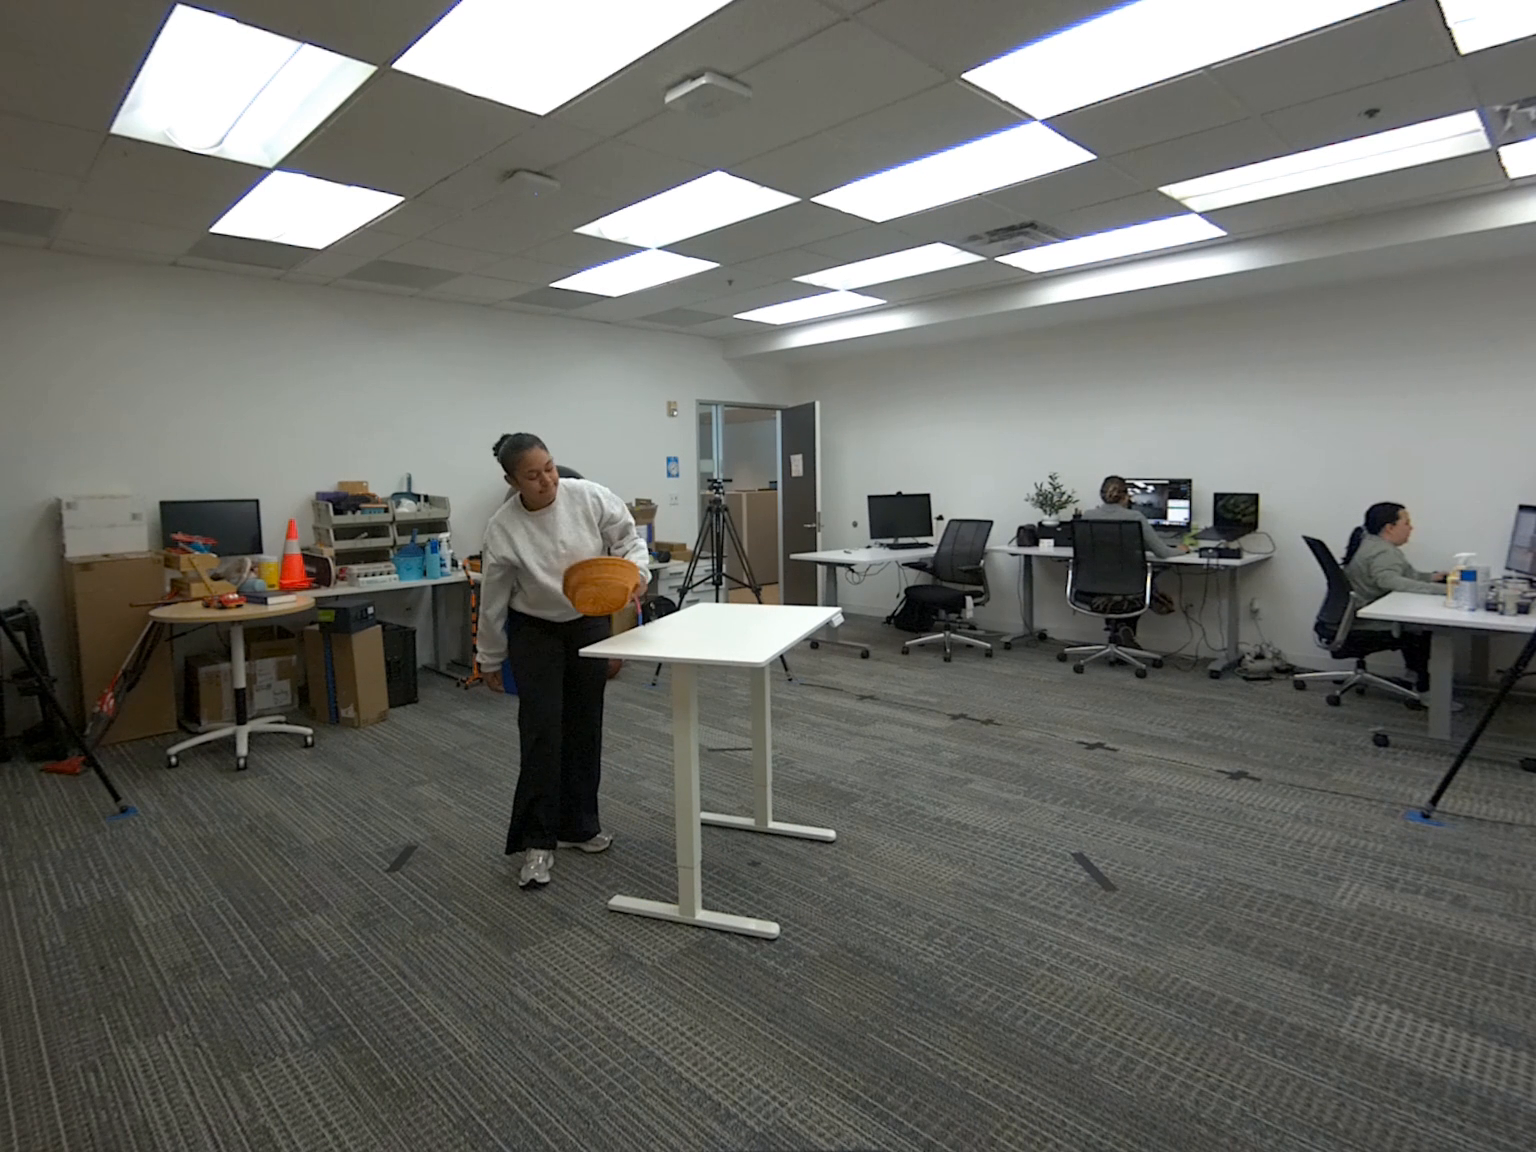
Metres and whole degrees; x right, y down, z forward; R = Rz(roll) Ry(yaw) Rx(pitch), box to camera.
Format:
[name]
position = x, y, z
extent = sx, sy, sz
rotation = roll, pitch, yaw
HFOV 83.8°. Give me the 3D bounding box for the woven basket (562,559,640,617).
[woven basket]
position = -0.553, 0.077, 2.808
extent = 0.246, 0.075, 0.351
rotation = 3, -23, -26
